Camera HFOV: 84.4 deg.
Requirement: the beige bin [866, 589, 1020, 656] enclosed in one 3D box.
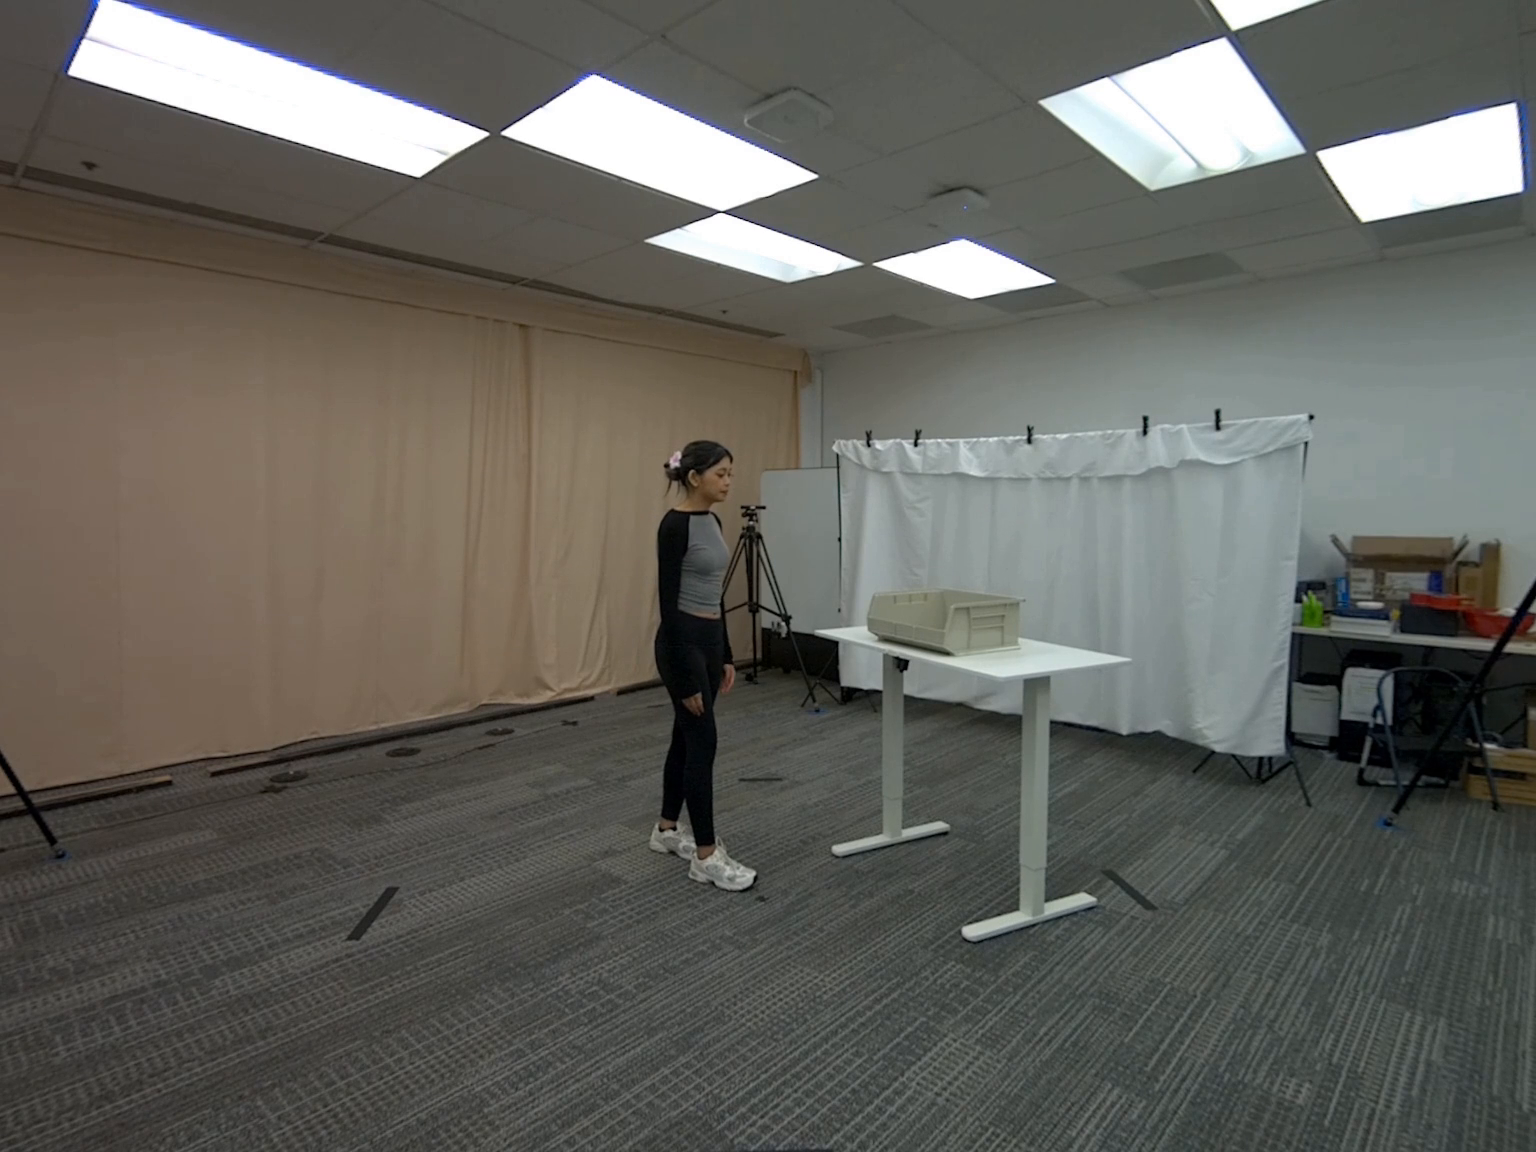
[{"bbox_3d":[0.648,0.165,3.073,0.367,0.189,0.435,-2,4,-31],"label":"beige bin"}]
